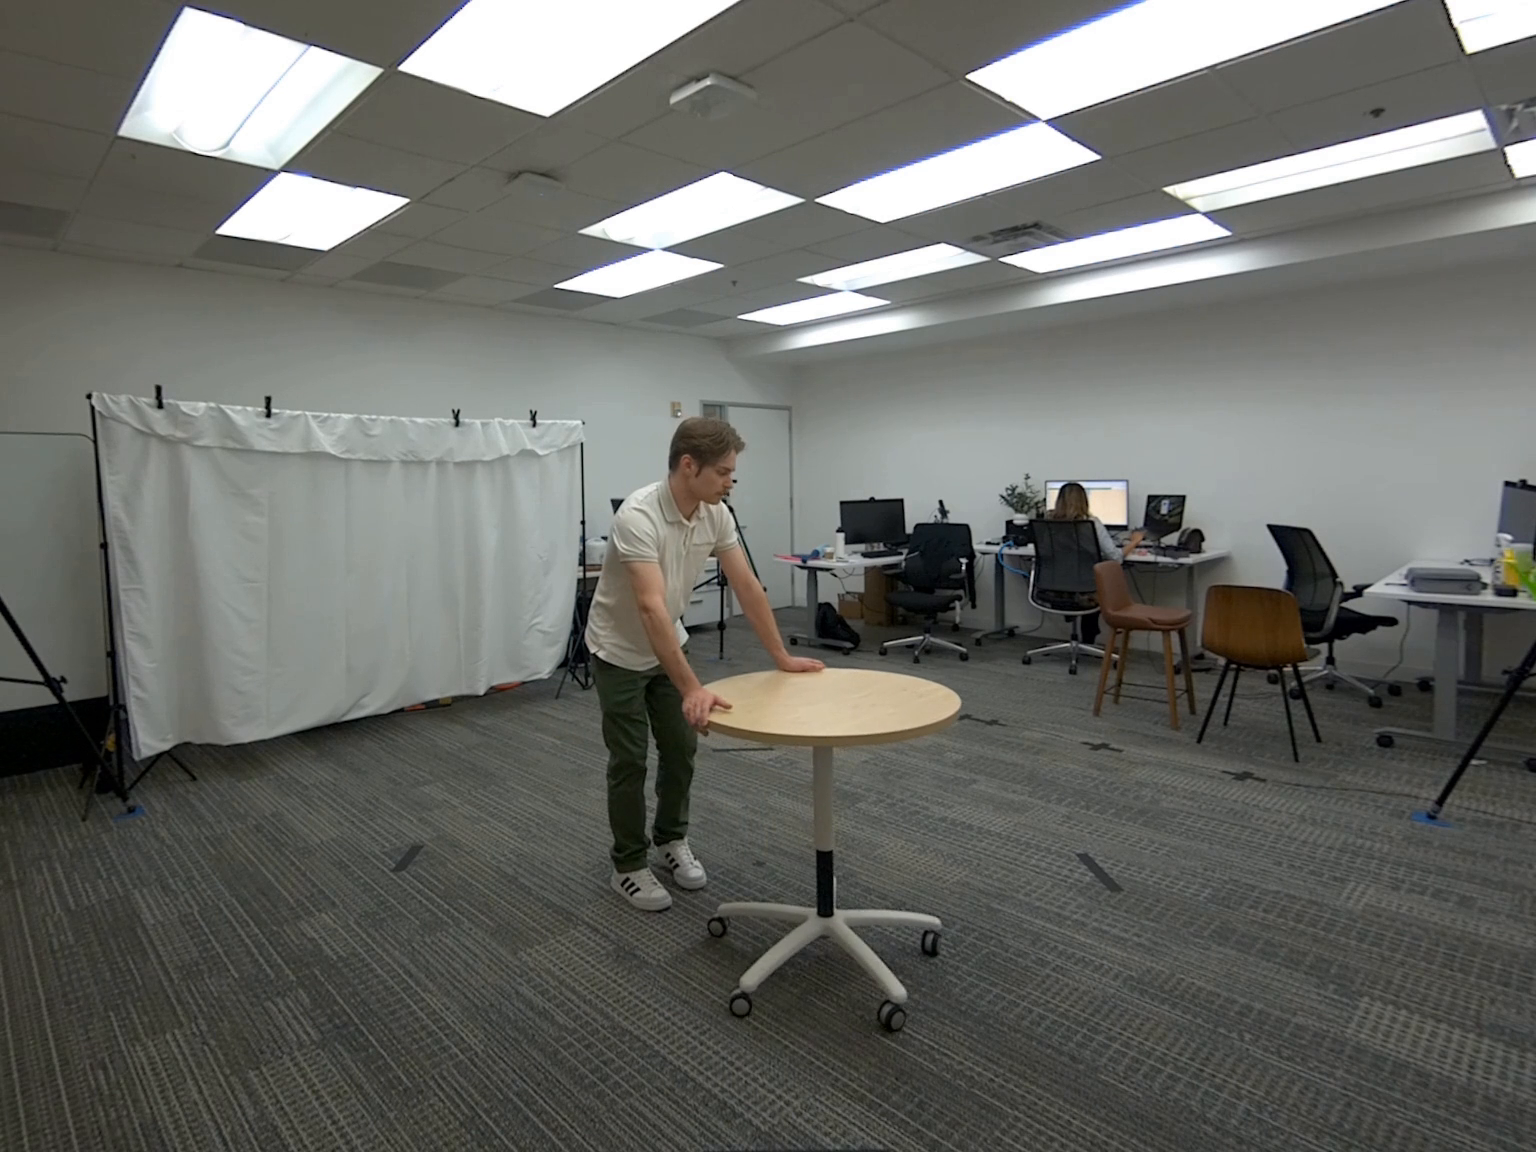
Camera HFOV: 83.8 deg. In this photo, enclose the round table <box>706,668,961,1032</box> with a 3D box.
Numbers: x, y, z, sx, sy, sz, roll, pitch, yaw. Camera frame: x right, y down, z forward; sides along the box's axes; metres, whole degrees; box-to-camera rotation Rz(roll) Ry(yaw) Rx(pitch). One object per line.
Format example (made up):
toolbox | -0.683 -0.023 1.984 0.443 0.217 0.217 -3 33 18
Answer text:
round table | 0.167 0.735 2.451 0.763 0.791 0.768 -2 5 -2
